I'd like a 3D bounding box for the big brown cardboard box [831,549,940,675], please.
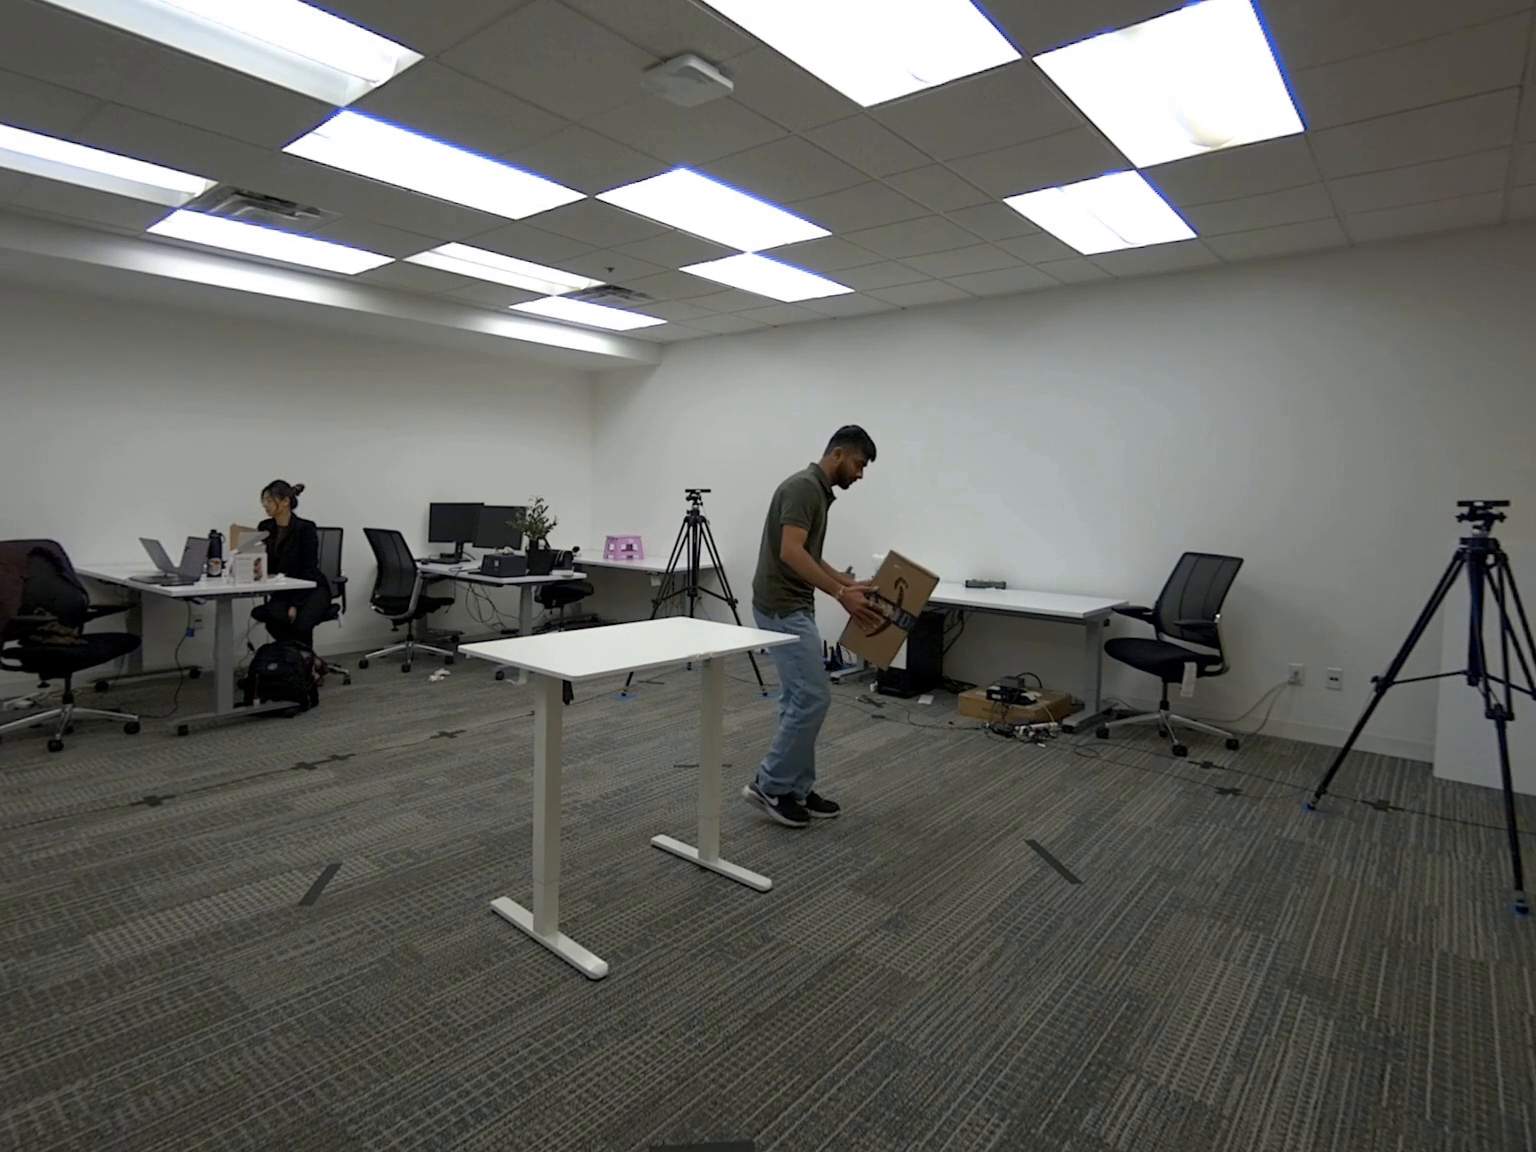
[{"bbox_3d":[0.485,0.127,3.513,0.236,0.417,0.583,30,5,6],"label":"big brown cardboard box"}]
